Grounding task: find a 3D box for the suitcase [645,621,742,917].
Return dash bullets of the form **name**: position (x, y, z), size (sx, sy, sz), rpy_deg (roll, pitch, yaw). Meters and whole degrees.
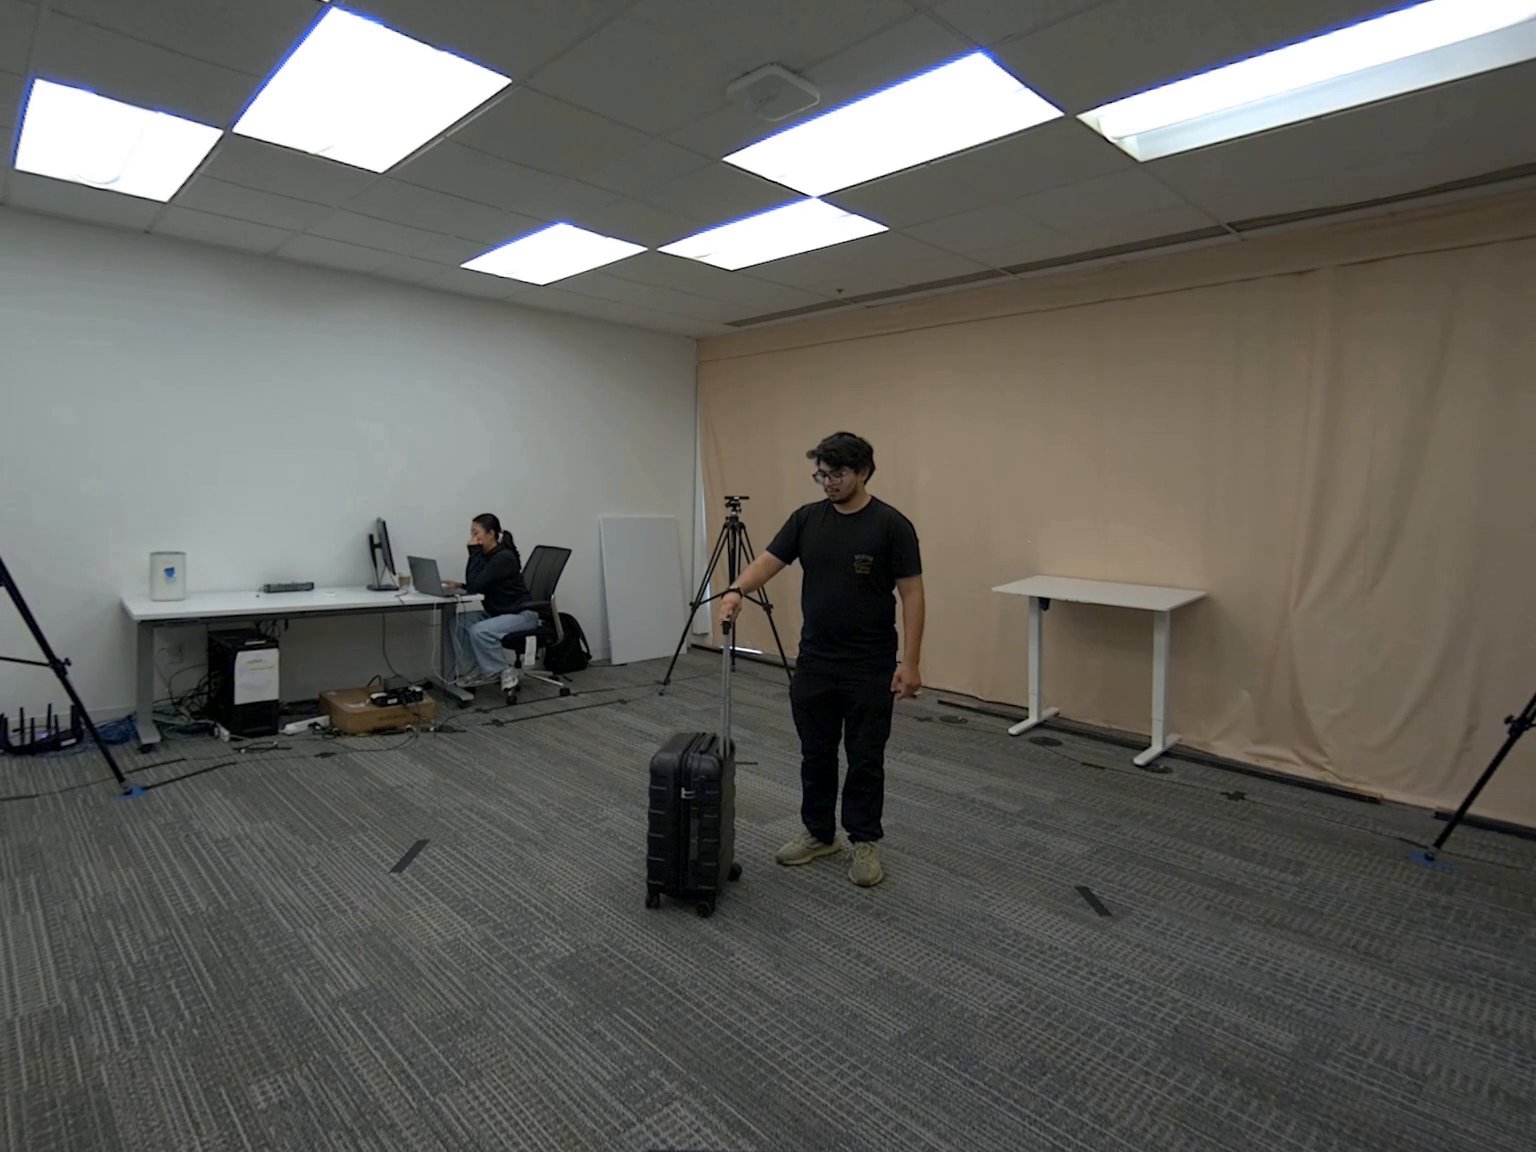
- **suitcase**: position (-0.265, 0.643, 2.924), size (0.259, 0.976, 0.382), rpy_deg (0, 4, 9)
